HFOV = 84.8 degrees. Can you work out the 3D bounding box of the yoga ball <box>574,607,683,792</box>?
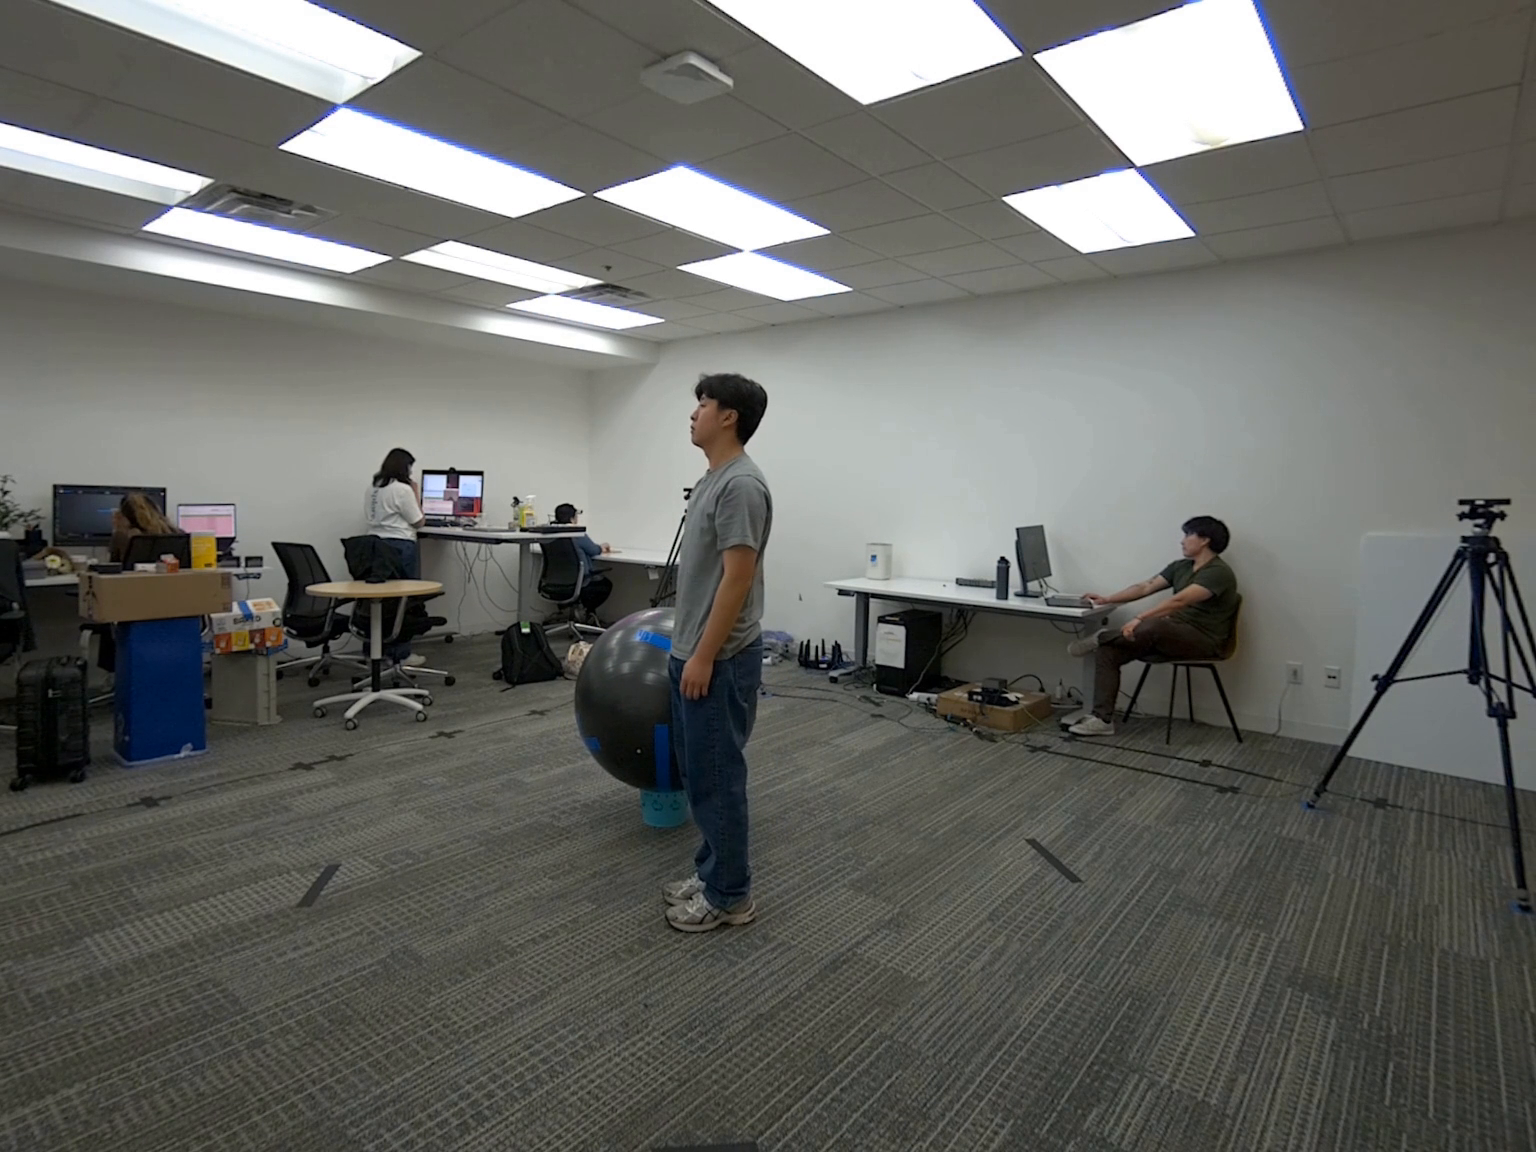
[{"bbox_3d":[-0.447,0.514,3.576,0.757,0.755,0.762,1,4,-2],"label":"yoga ball"}]
